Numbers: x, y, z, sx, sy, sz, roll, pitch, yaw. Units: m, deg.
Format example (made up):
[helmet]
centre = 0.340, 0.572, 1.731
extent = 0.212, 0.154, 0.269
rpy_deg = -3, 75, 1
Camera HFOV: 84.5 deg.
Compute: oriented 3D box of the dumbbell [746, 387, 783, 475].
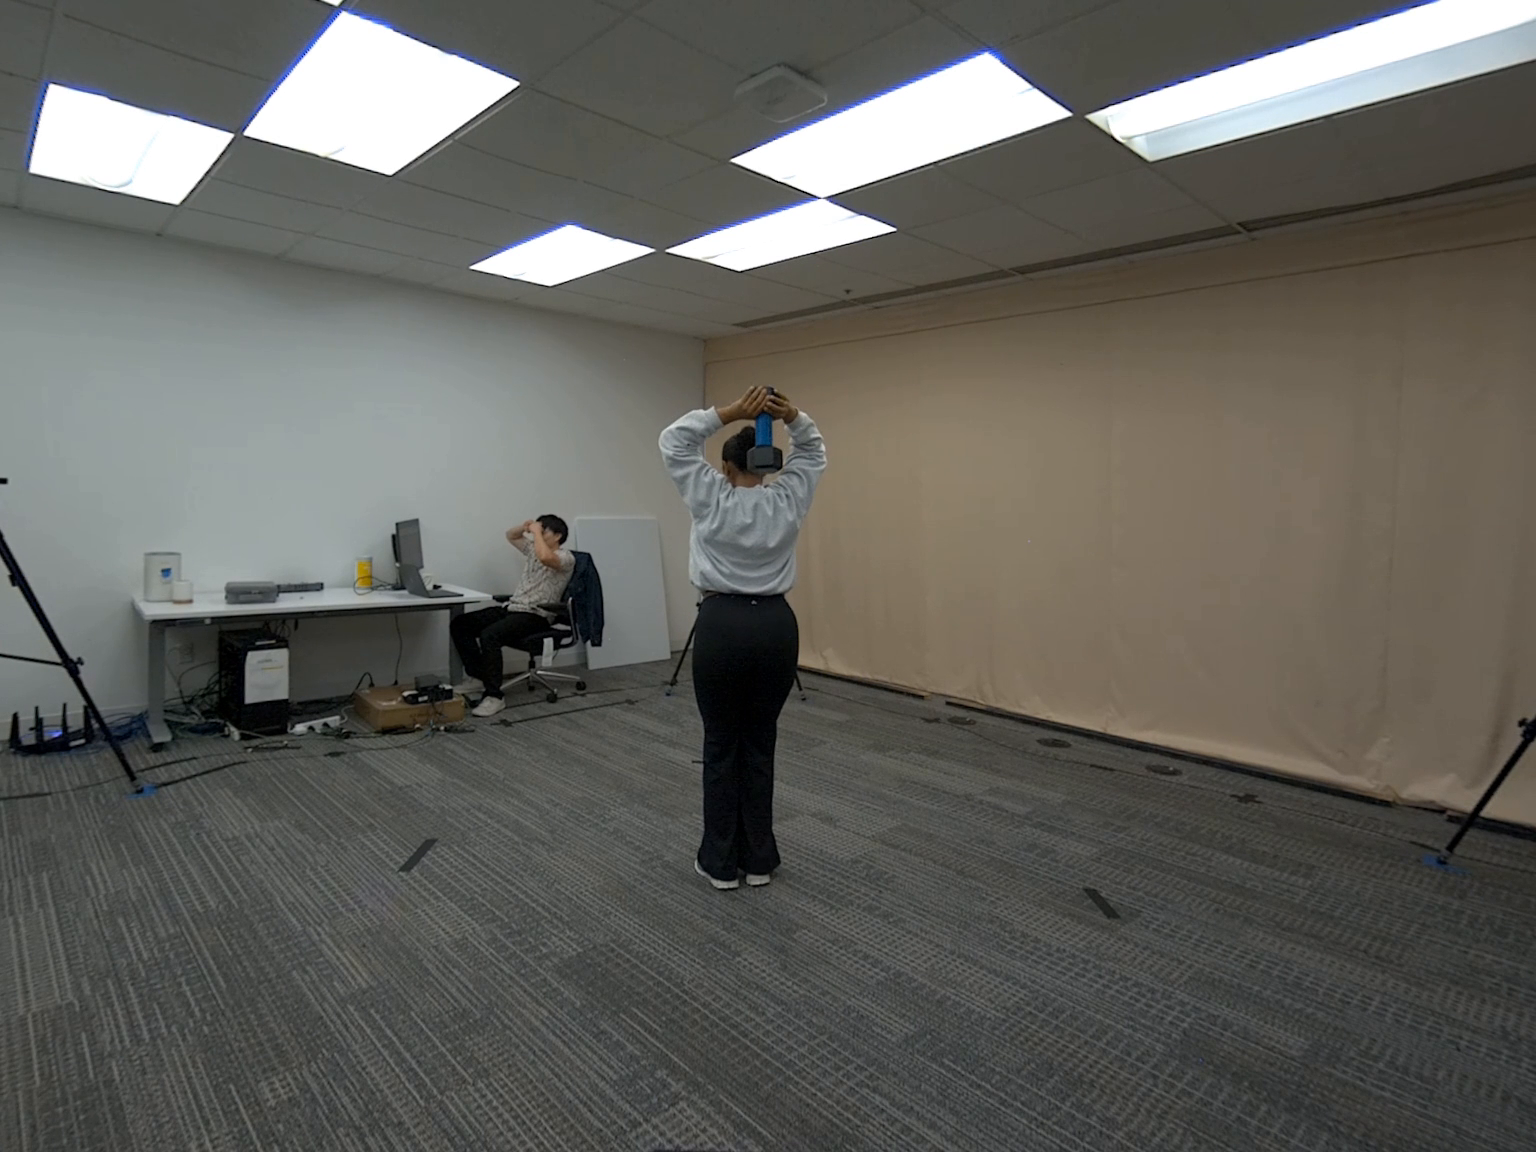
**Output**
[dumbbell]
centre = -0.029, -0.507, 2.889
extent = 0.110, 0.296, 0.120
rpy_deg = -10, -12, 31
